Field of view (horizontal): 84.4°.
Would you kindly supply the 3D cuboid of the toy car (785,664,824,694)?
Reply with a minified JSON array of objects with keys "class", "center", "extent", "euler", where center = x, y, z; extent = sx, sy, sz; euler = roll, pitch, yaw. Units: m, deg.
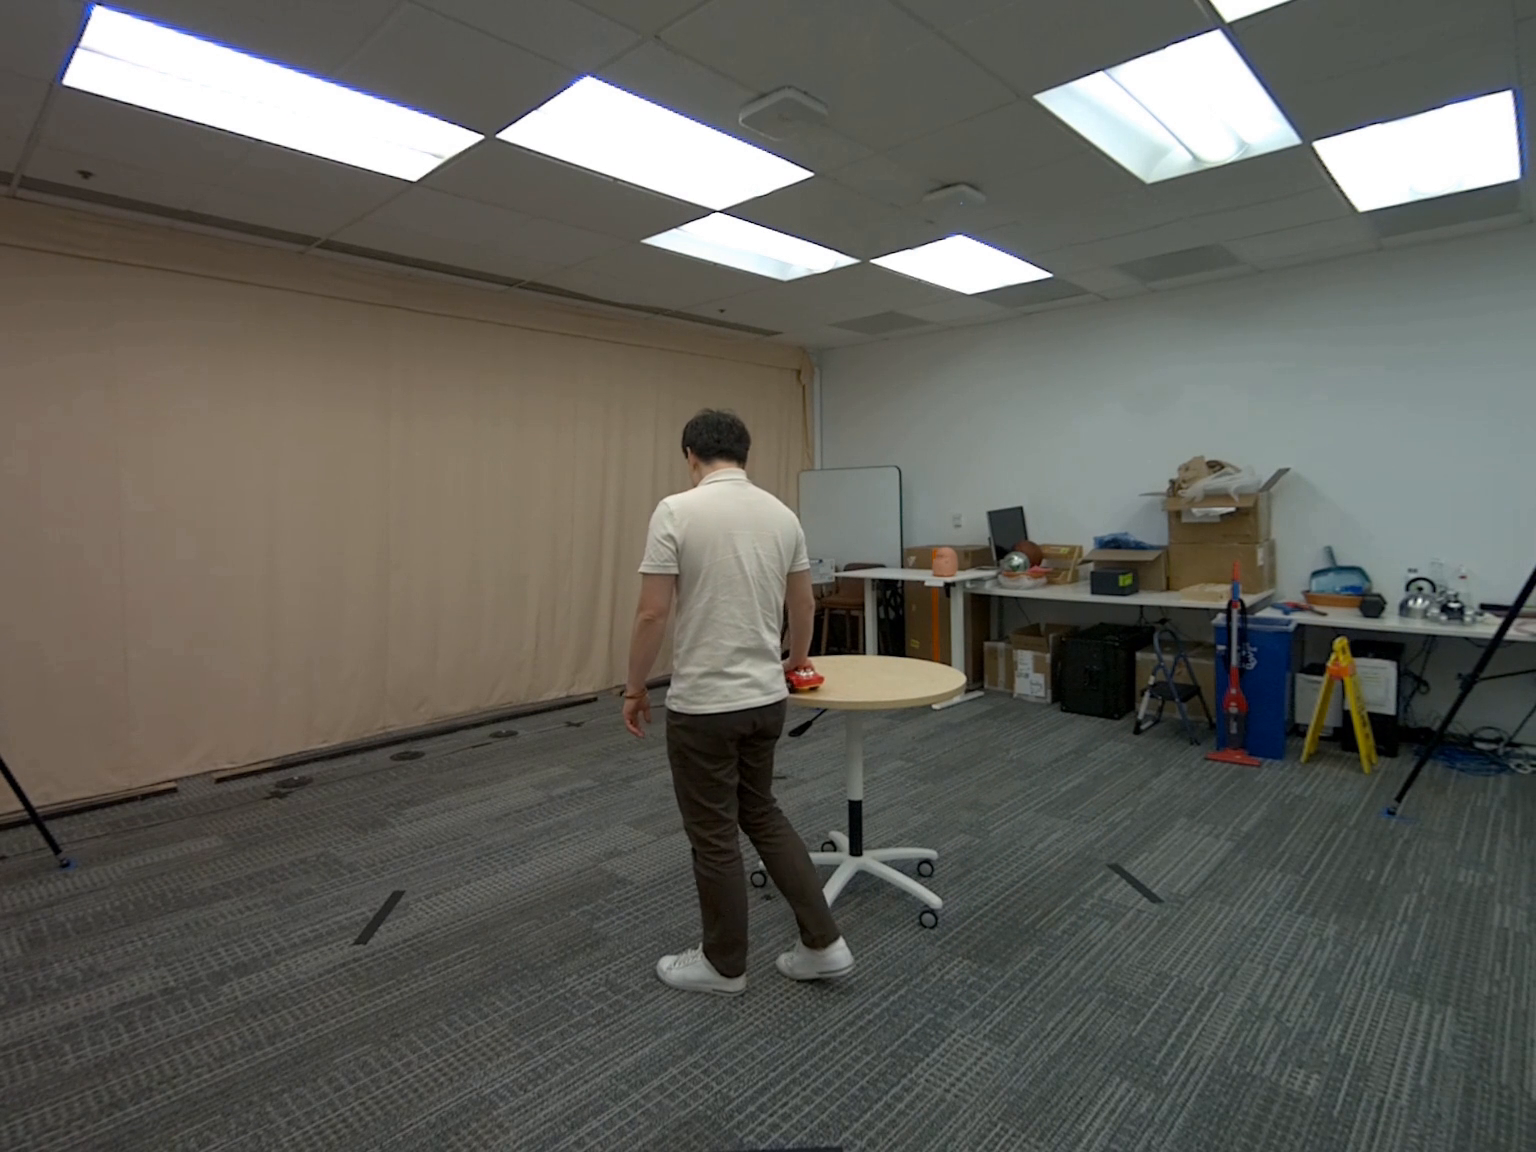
[{"class":"toy car","center":[0.091,0.344,2.783],"extent":[0.127,0.083,0.260],"euler":[-3,-6,-33]}]
